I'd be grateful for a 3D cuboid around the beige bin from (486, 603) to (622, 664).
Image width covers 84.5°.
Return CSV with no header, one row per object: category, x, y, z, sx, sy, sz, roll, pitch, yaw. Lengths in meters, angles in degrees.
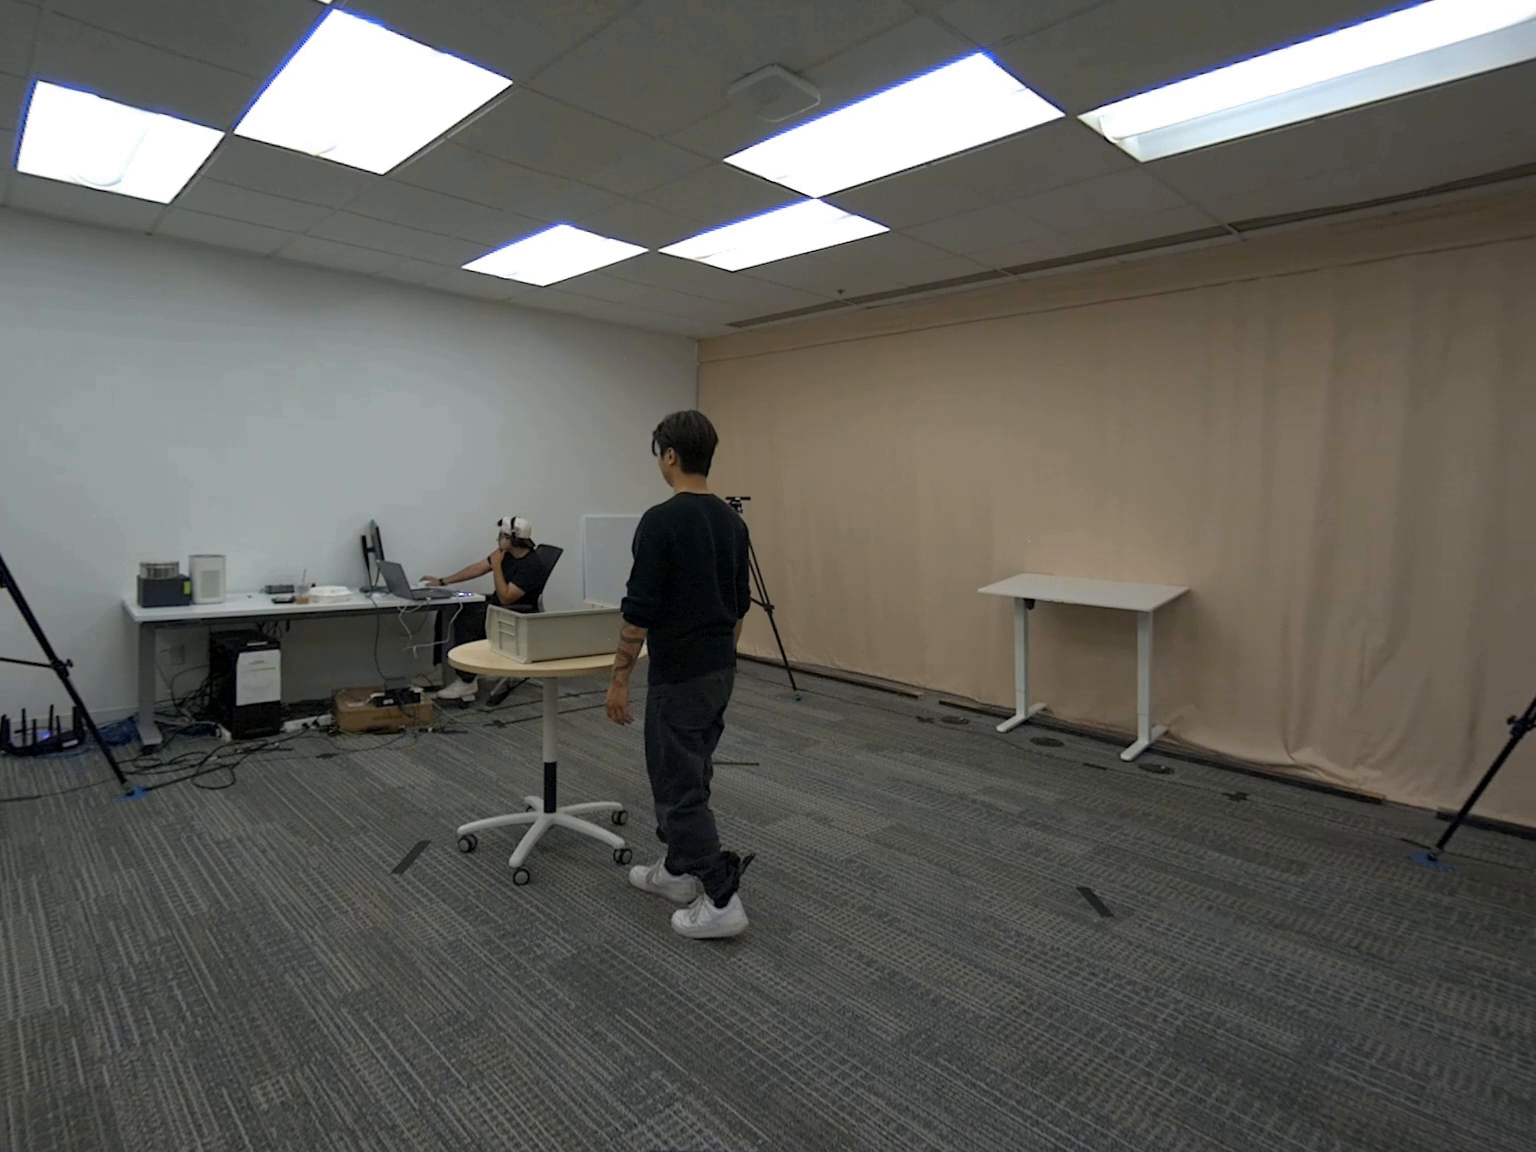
beige bin,-0.823,0.201,3.258,0.413,0.188,0.387,-3,8,-38
